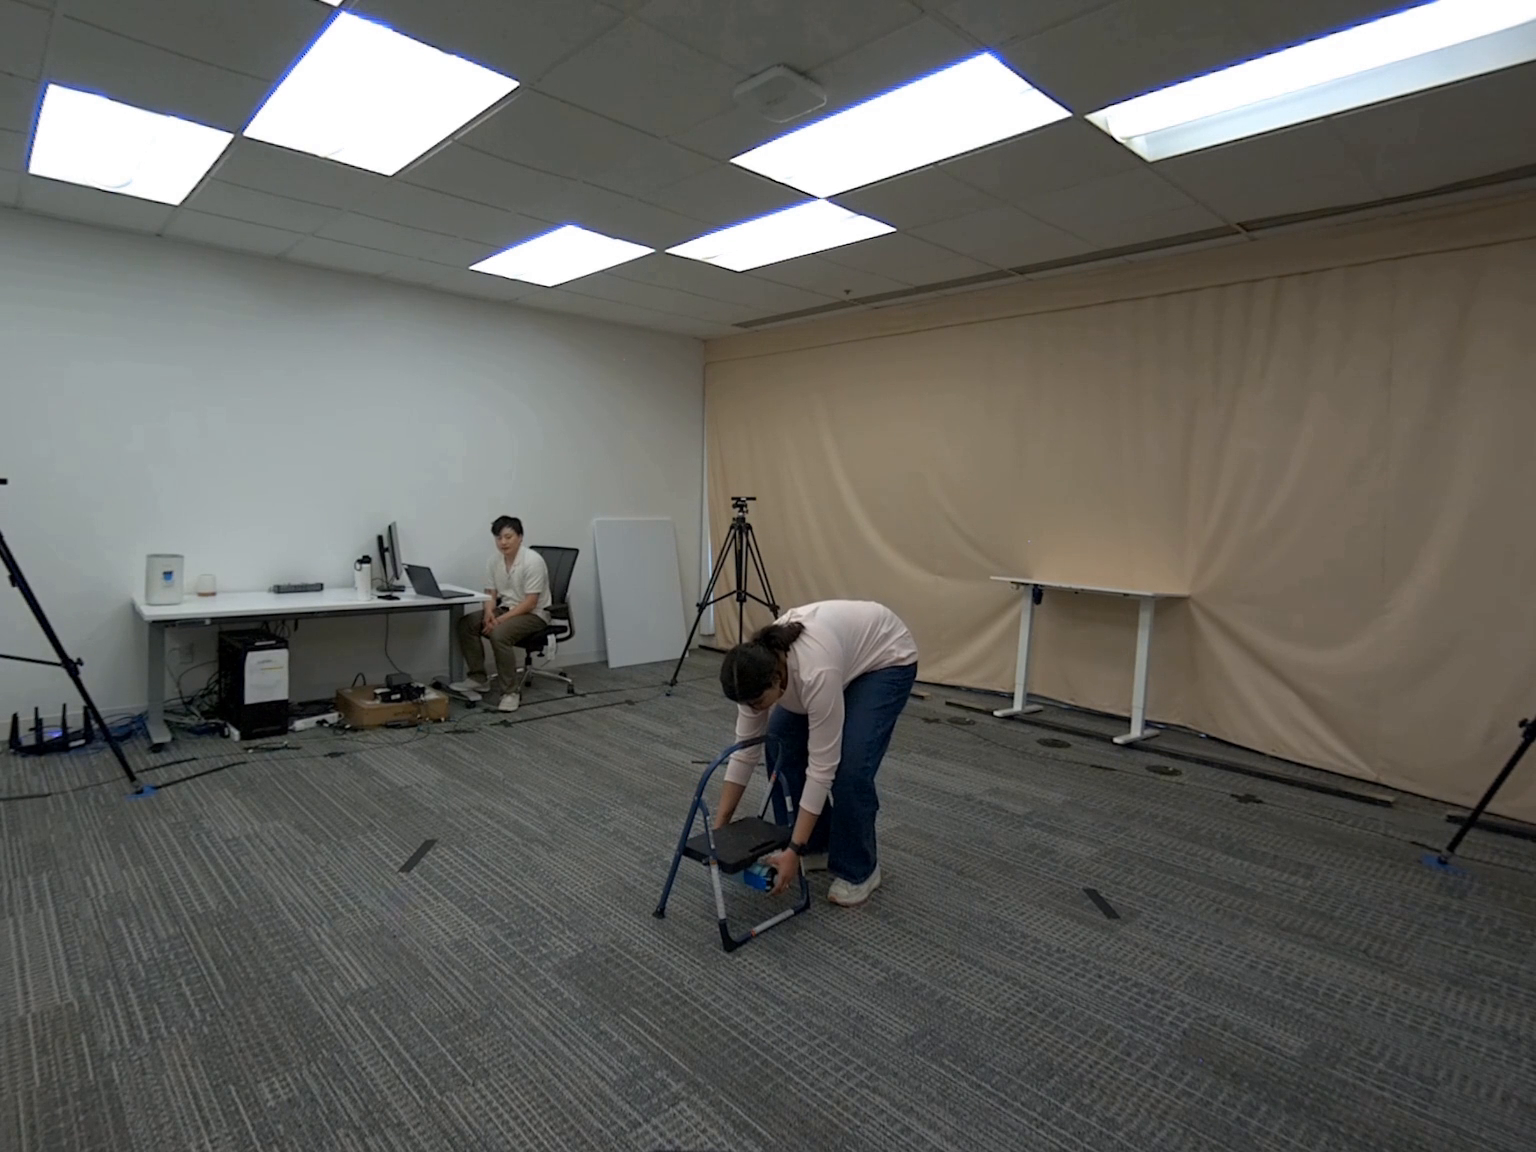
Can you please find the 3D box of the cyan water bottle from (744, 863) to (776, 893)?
[{"bbox_3d":[-0.090,0.963,2.808,0.291,0.092,0.090,7,7,42],"label":"cyan water bottle"}]
